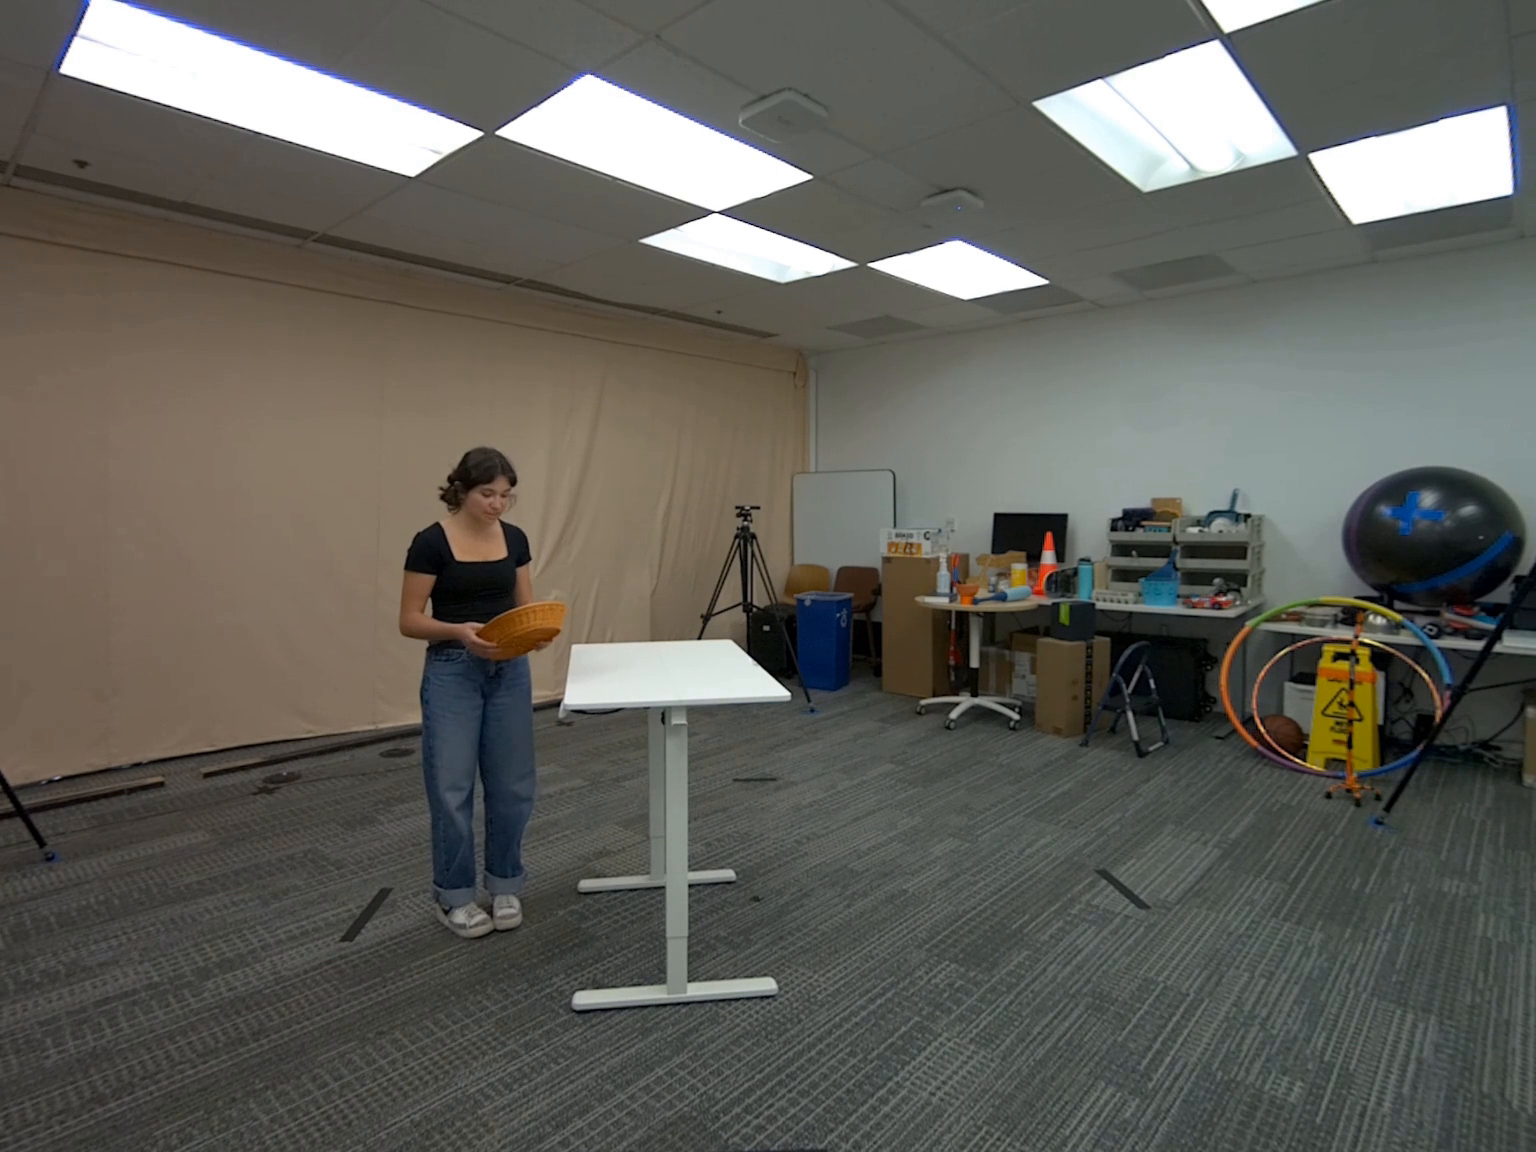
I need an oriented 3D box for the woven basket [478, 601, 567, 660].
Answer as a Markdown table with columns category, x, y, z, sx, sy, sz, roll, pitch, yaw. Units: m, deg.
| category | x | y | z | sx | sy | sz | roll | pitch | yaw |
| --- | --- | --- | --- | --- | --- | --- | --- | --- | --- |
| woven basket | -0.760 | 0.176 | 2.604 | 0.245 | 0.074 | 0.355 | -9 | -17 | -39 |
